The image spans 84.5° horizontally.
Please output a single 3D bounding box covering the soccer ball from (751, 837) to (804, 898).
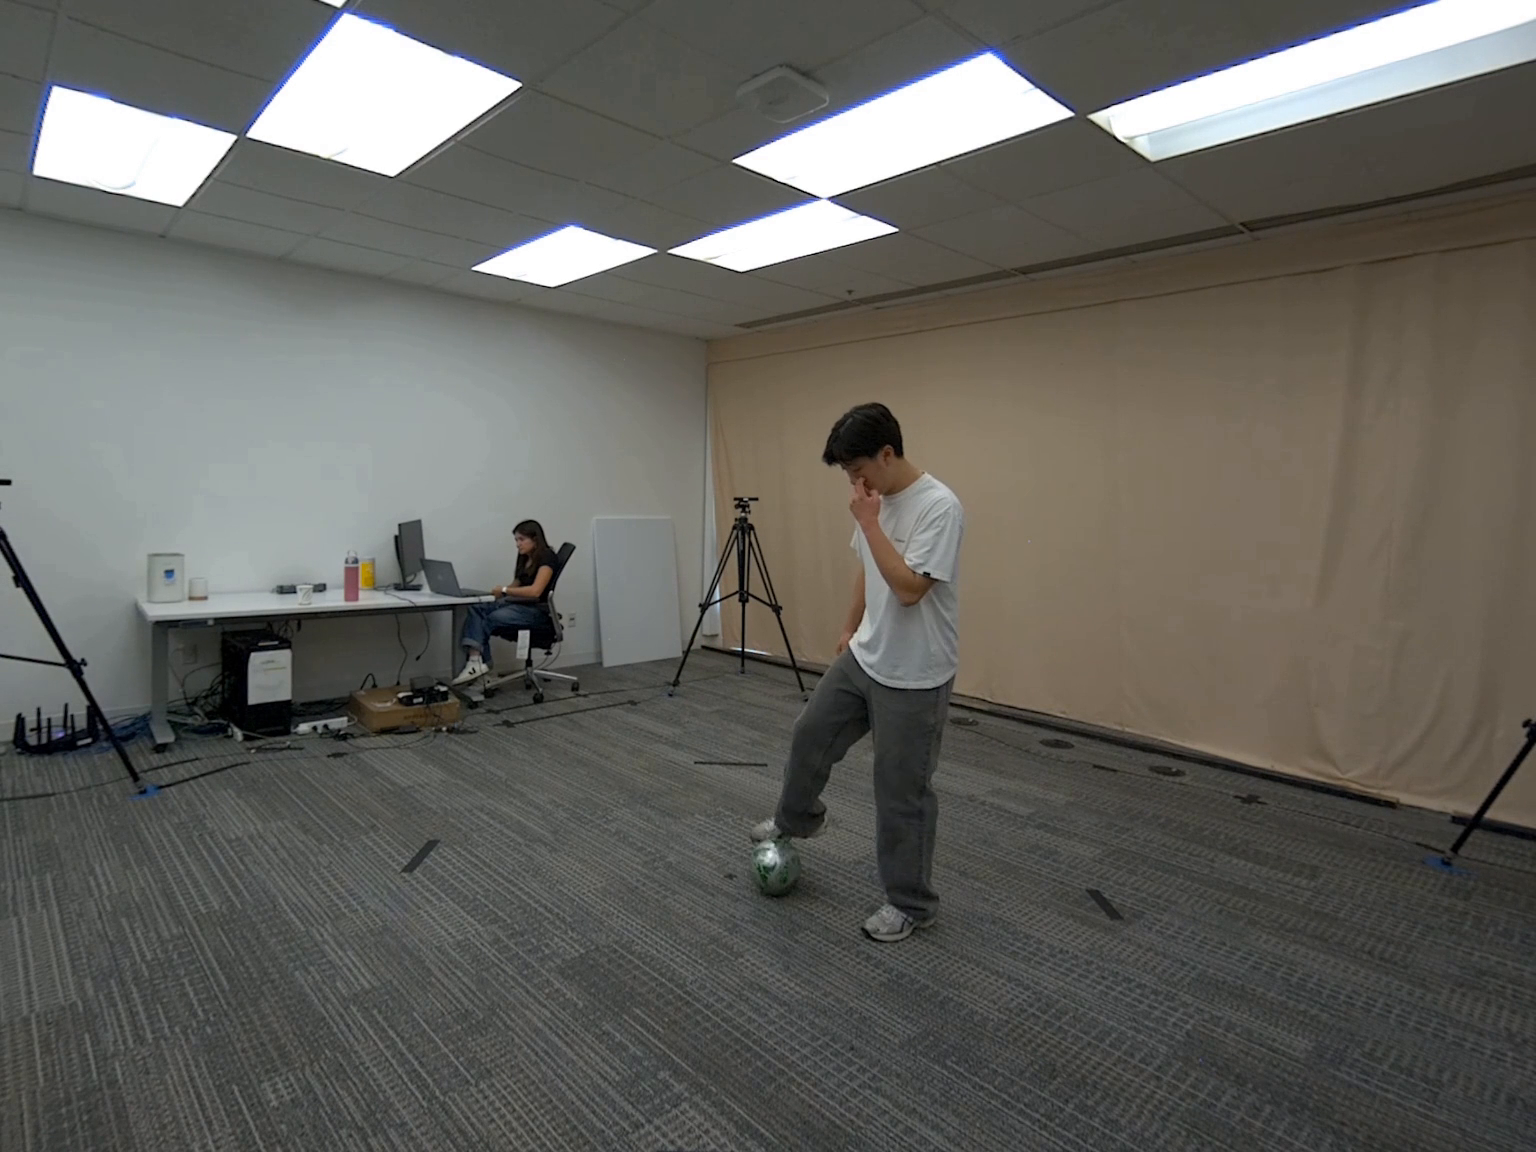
[{"bbox_3d":[0.019,1.031,2.958,0.187,0.187,0.188,1,4,-1],"label":"soccer ball"}]
